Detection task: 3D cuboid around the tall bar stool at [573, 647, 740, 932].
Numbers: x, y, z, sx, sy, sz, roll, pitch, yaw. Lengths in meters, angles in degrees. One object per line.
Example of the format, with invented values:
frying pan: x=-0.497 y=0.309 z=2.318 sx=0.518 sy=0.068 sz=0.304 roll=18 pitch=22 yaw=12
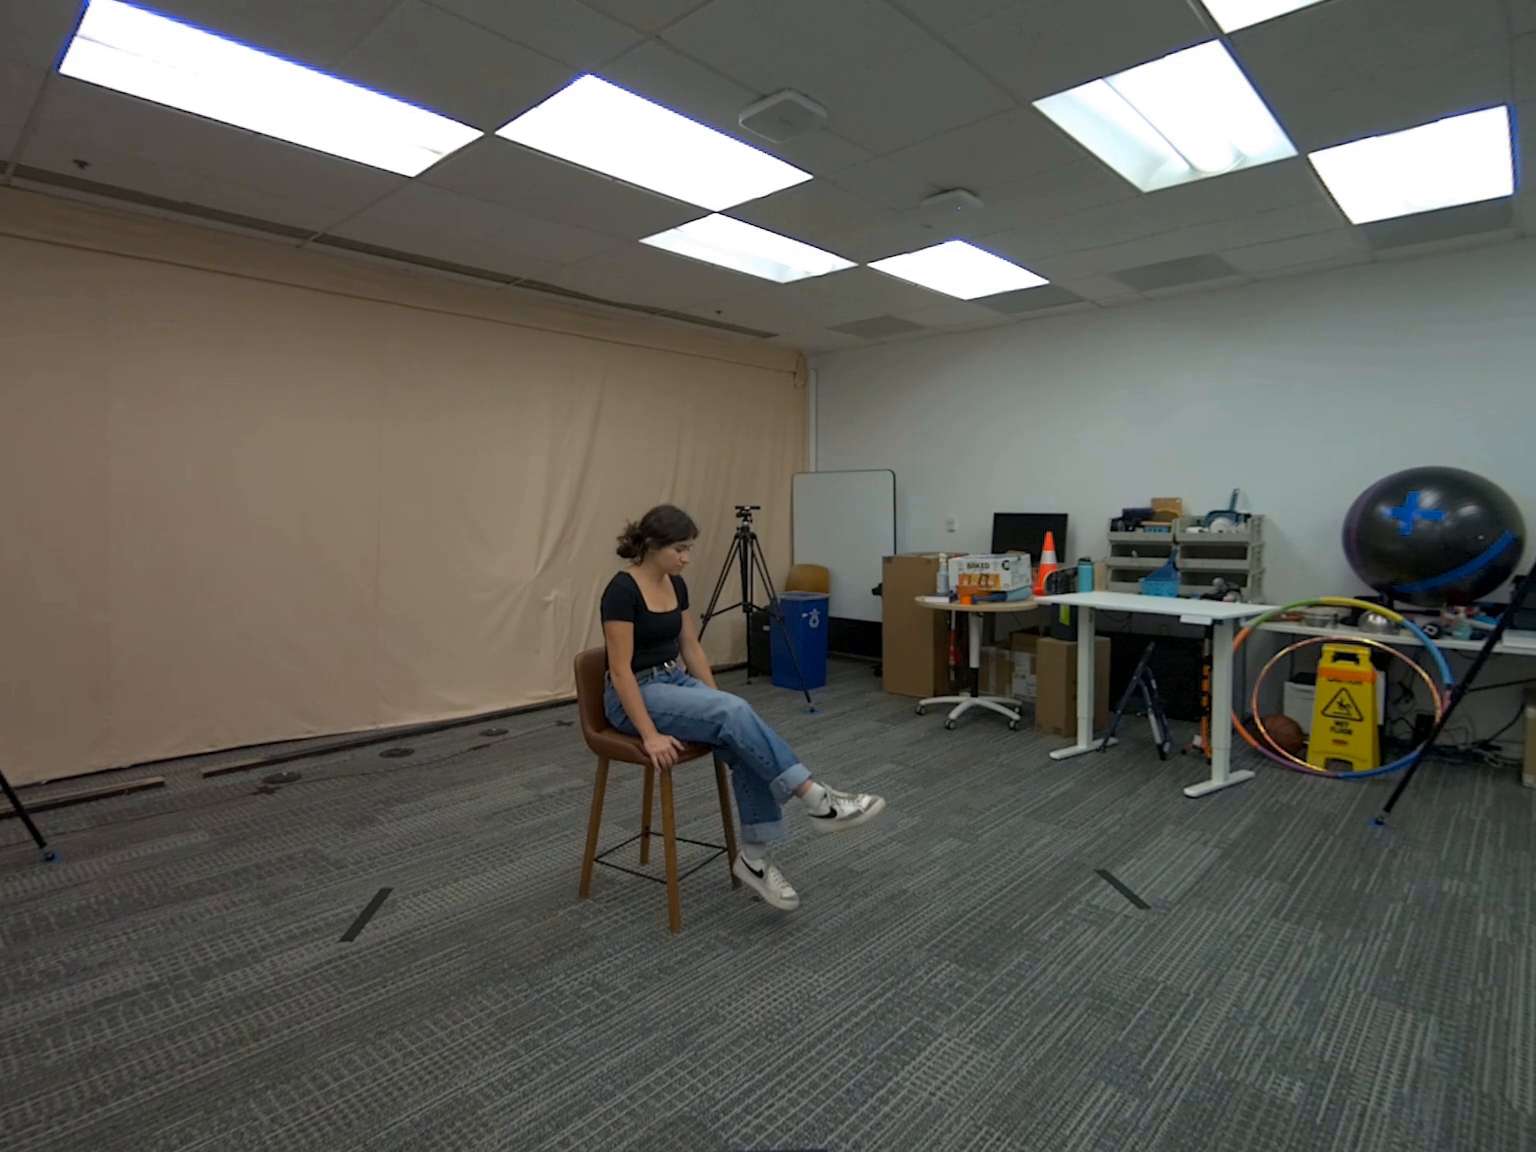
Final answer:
tall bar stool: x=-0.400 y=0.712 z=3.023 sx=0.481 sy=0.889 sz=0.444 roll=-1 pitch=2 yaw=32
